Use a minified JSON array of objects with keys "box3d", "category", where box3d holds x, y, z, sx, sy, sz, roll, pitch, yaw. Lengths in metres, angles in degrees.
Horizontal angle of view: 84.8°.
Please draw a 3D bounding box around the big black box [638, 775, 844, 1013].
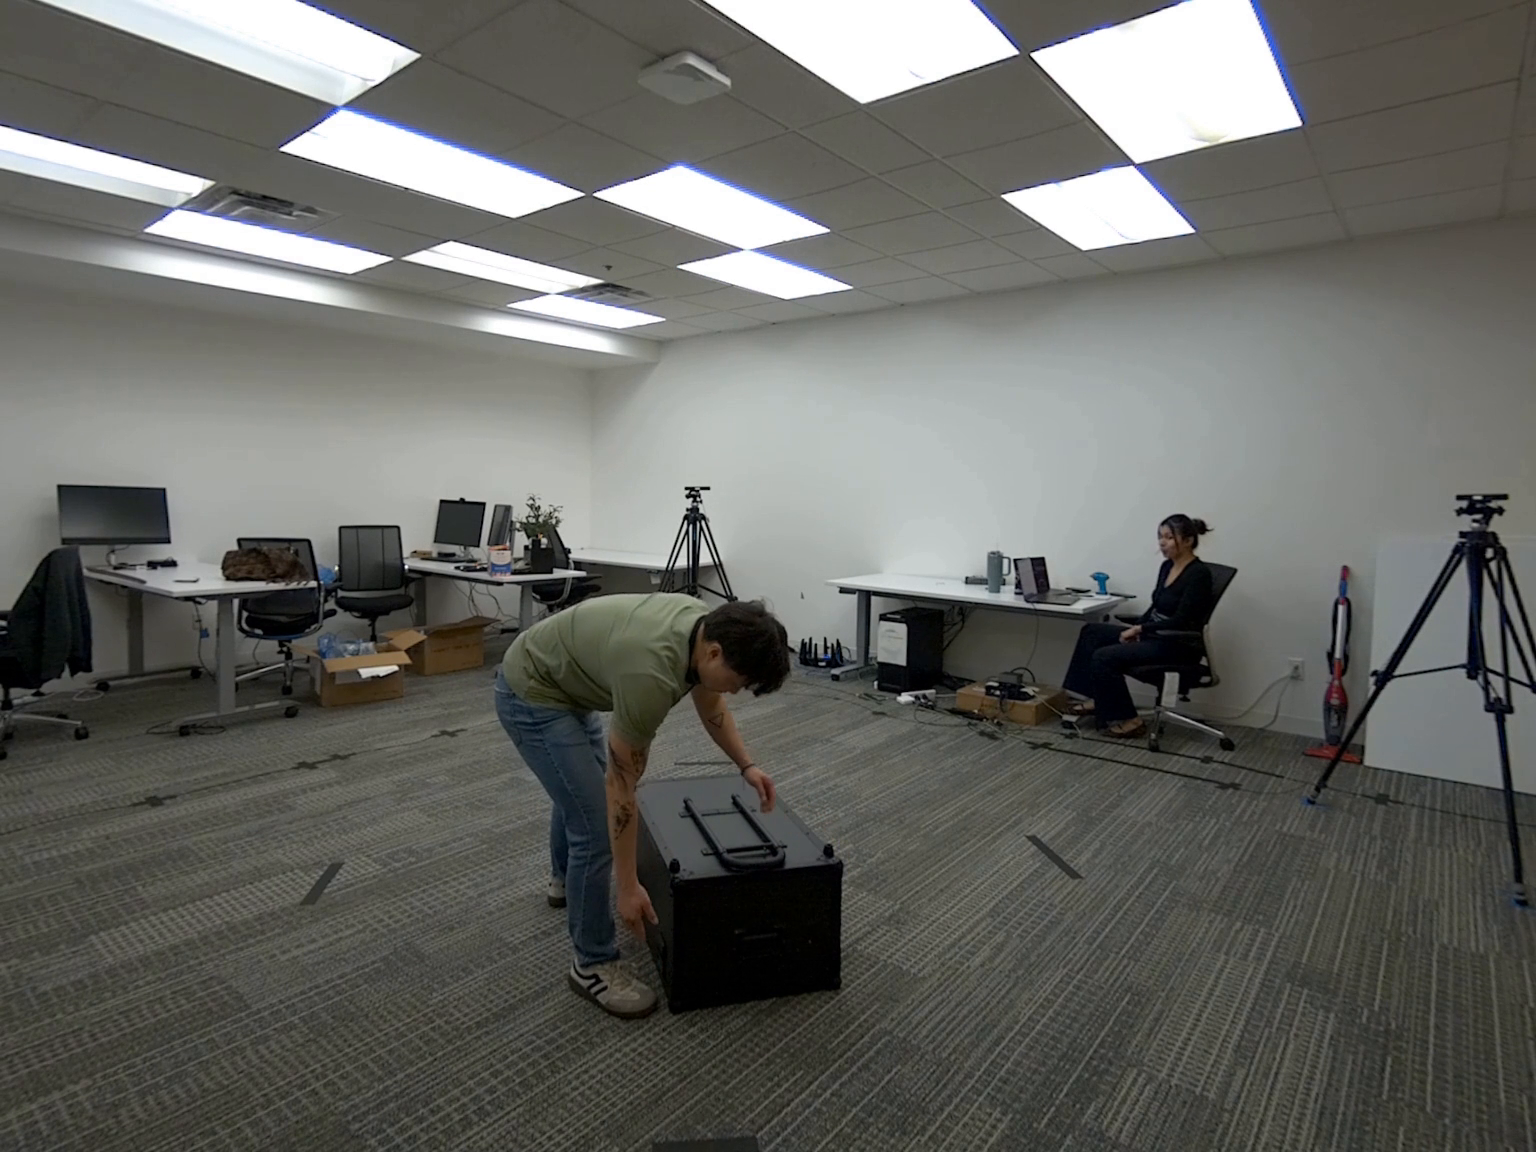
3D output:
[{"box3d":[-0.171,0.910,2.699,0.512,0.395,0.879,-1,5,-18],"category":"big black box"}]
